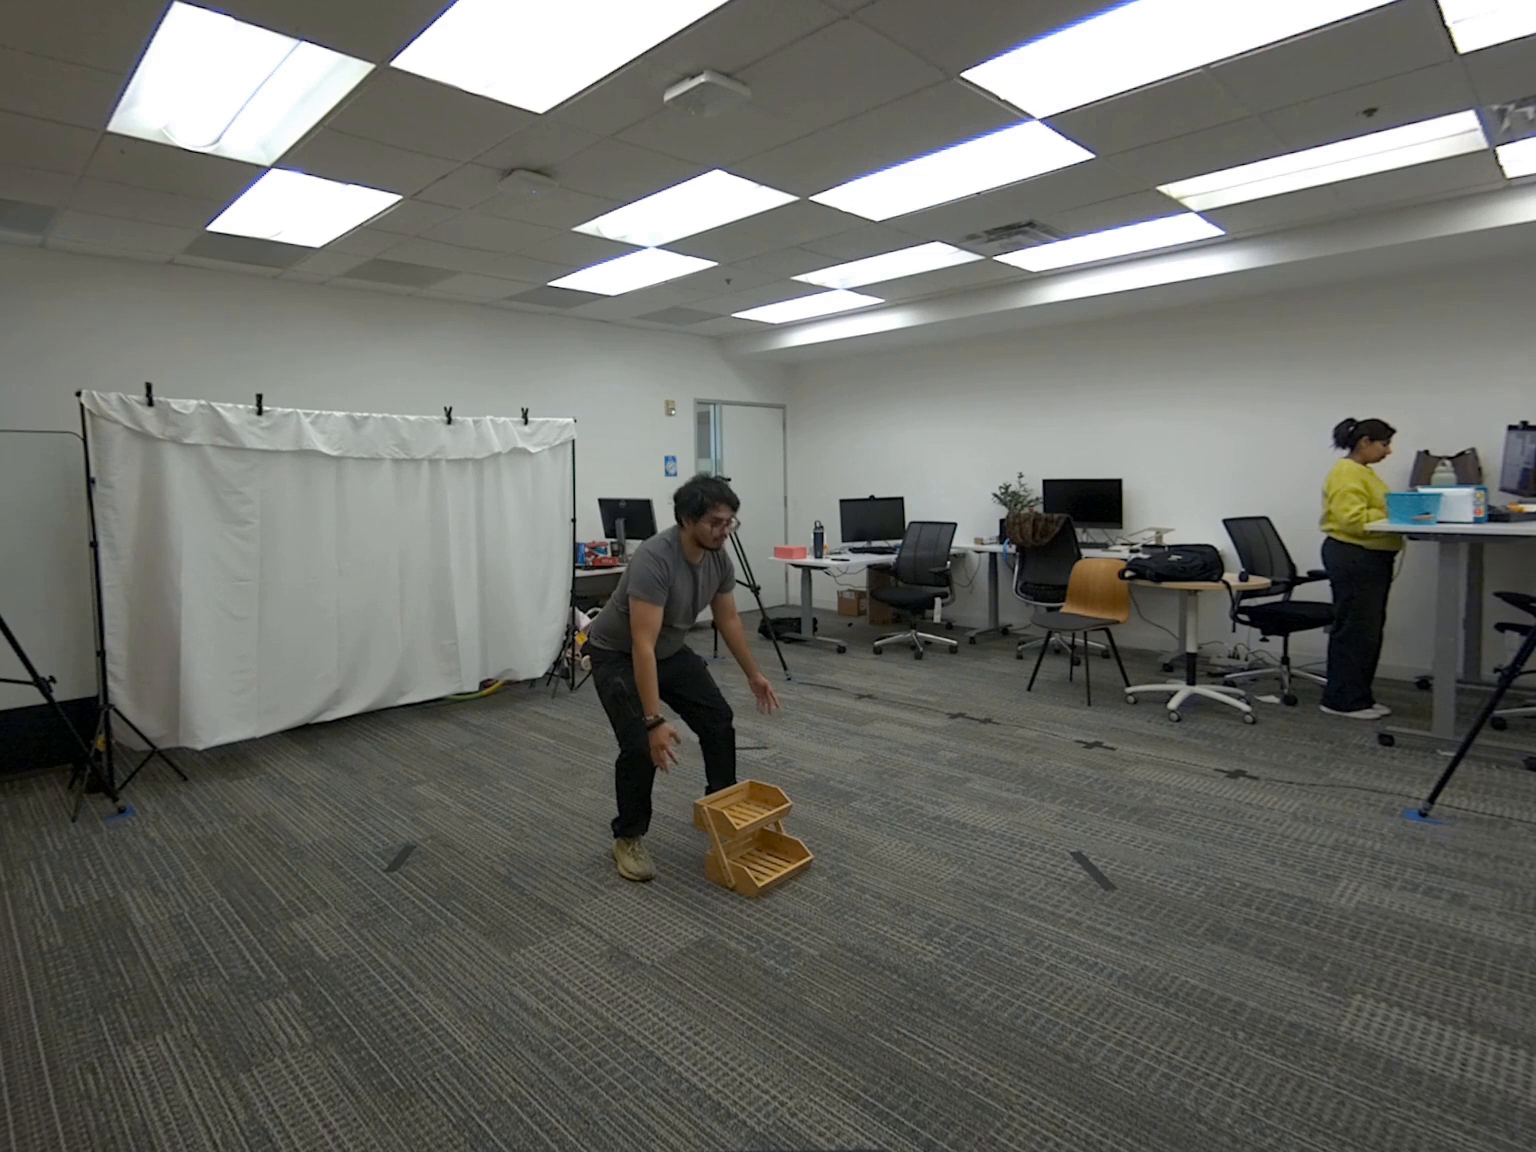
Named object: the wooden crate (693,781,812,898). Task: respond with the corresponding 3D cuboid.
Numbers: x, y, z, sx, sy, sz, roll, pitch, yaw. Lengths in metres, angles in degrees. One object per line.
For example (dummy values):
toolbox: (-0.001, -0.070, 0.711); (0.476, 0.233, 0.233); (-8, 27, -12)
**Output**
wooden crate: (-0.045, 0.915, 3.029); (0.311, 0.272, 0.316); (3, 7, 41)
